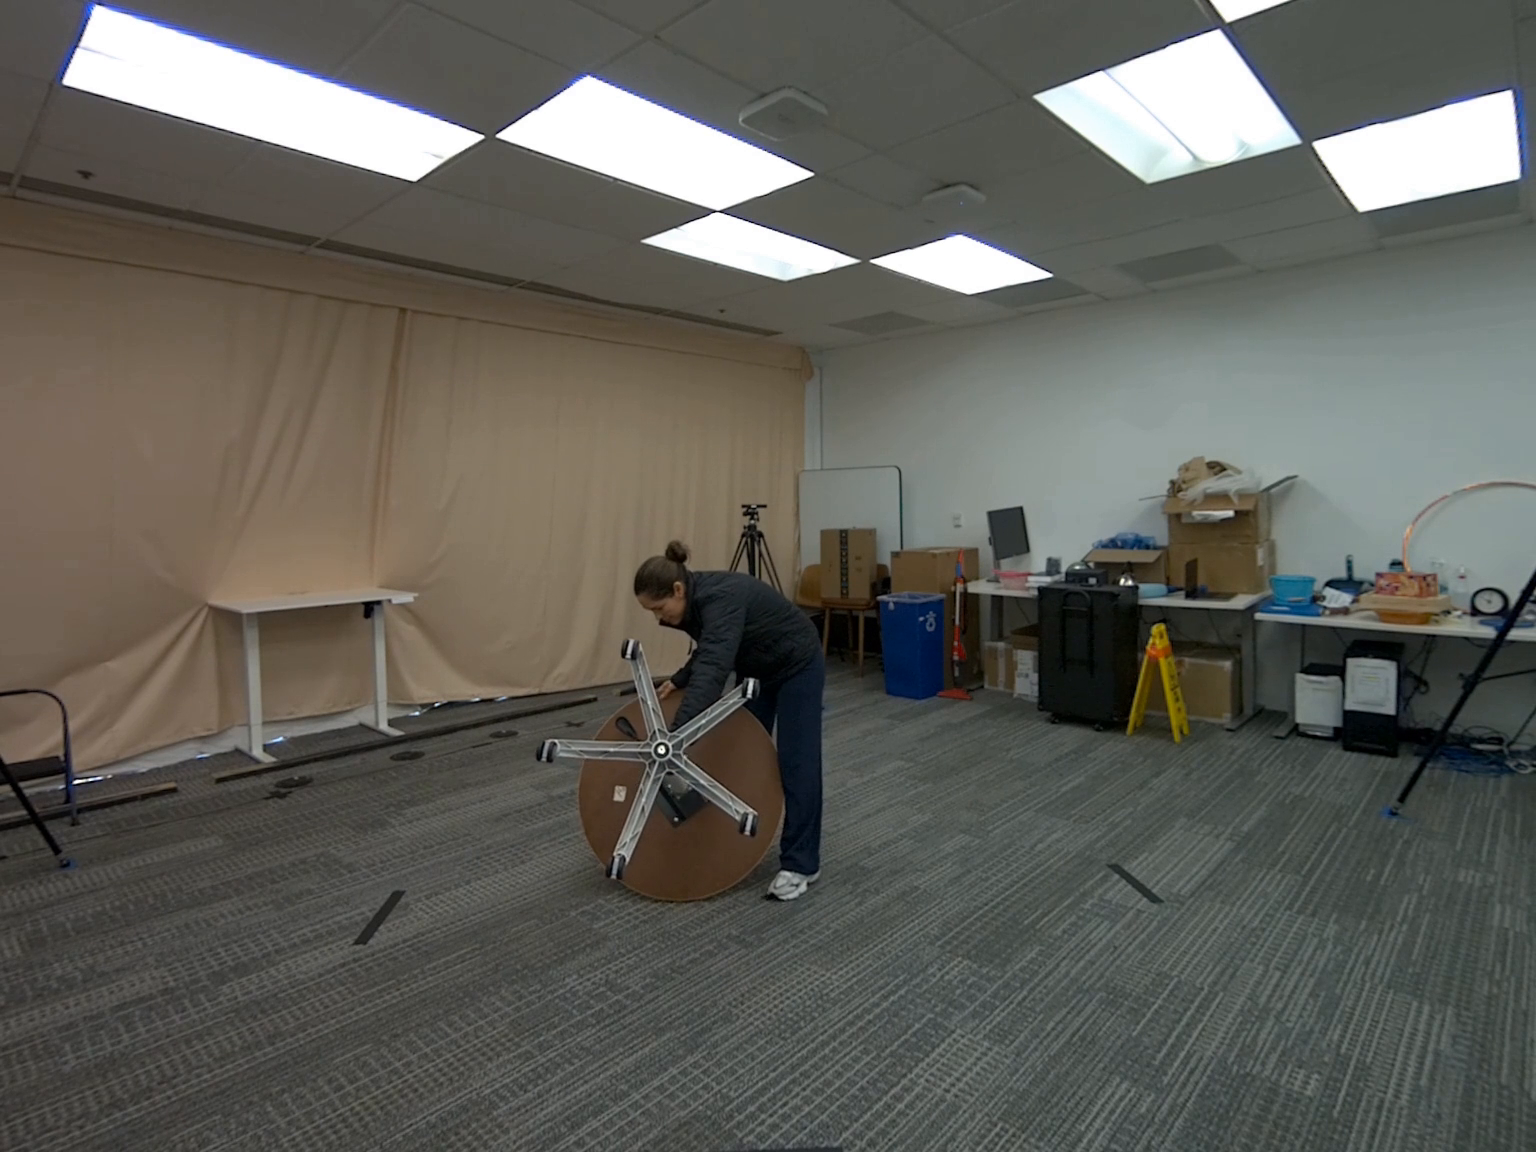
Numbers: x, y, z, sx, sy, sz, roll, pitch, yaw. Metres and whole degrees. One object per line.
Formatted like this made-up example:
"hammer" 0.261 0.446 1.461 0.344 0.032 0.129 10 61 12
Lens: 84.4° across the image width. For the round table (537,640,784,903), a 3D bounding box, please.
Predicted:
"round table" -0.297 0.634 2.787 0.786 0.796 0.775 -1 -24 0
